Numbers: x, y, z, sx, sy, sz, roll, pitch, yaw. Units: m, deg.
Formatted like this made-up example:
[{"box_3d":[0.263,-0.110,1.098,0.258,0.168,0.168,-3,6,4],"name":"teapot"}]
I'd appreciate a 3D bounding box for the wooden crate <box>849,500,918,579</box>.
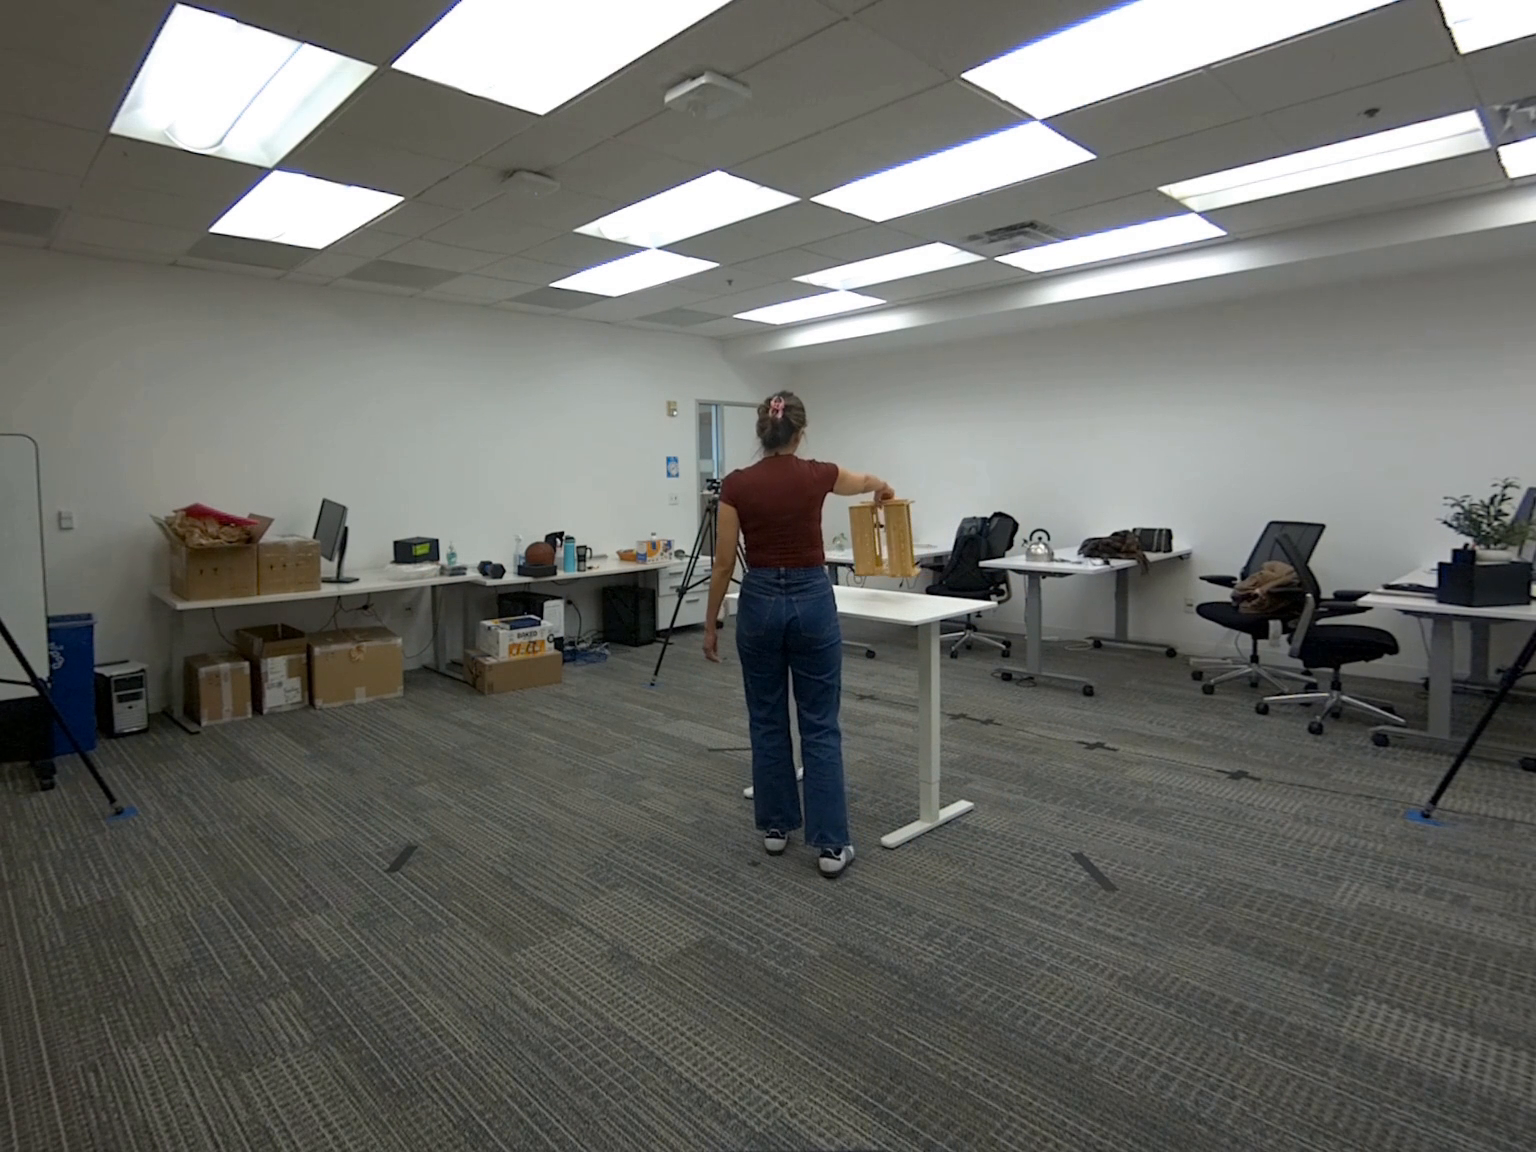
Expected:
[{"box_3d":[0.518,-0.165,3.648,0.279,0.323,0.298,-3,6,22],"name":"wooden crate"}]
